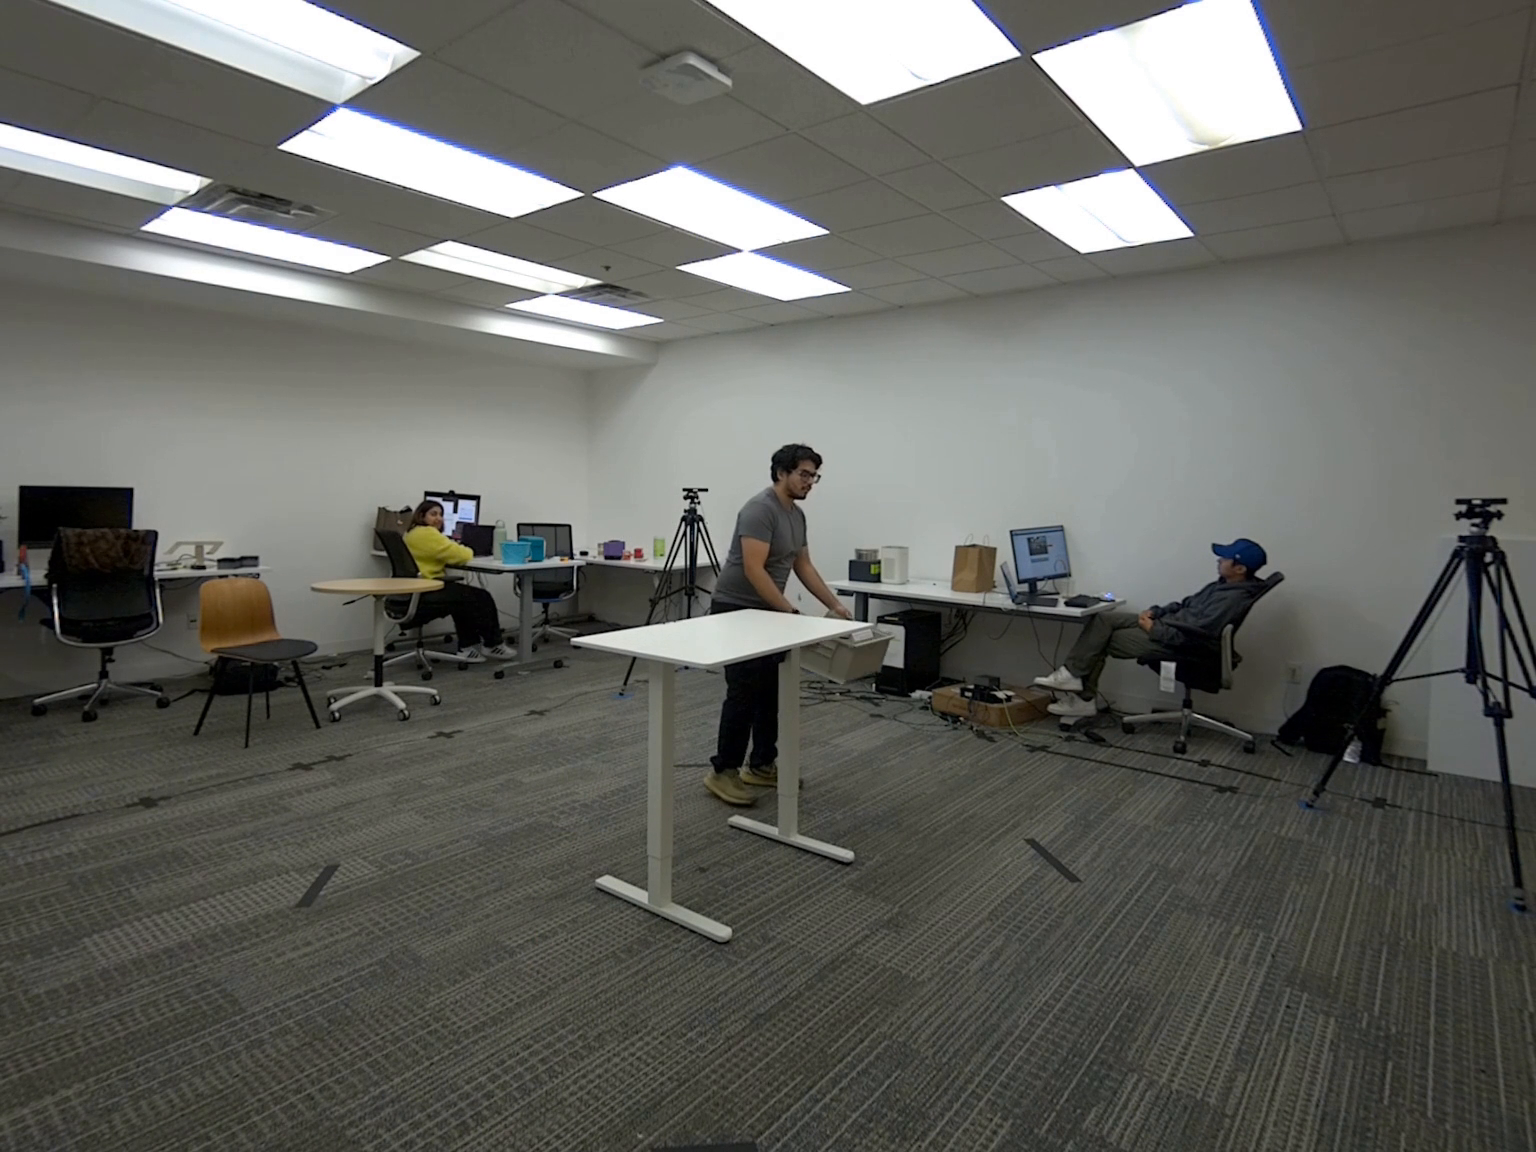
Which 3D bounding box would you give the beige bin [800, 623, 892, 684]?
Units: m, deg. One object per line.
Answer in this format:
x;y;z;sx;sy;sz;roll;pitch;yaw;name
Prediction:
0.280;0.306;3.781;0.391;0.187;0.411;21;14;30;beige bin
